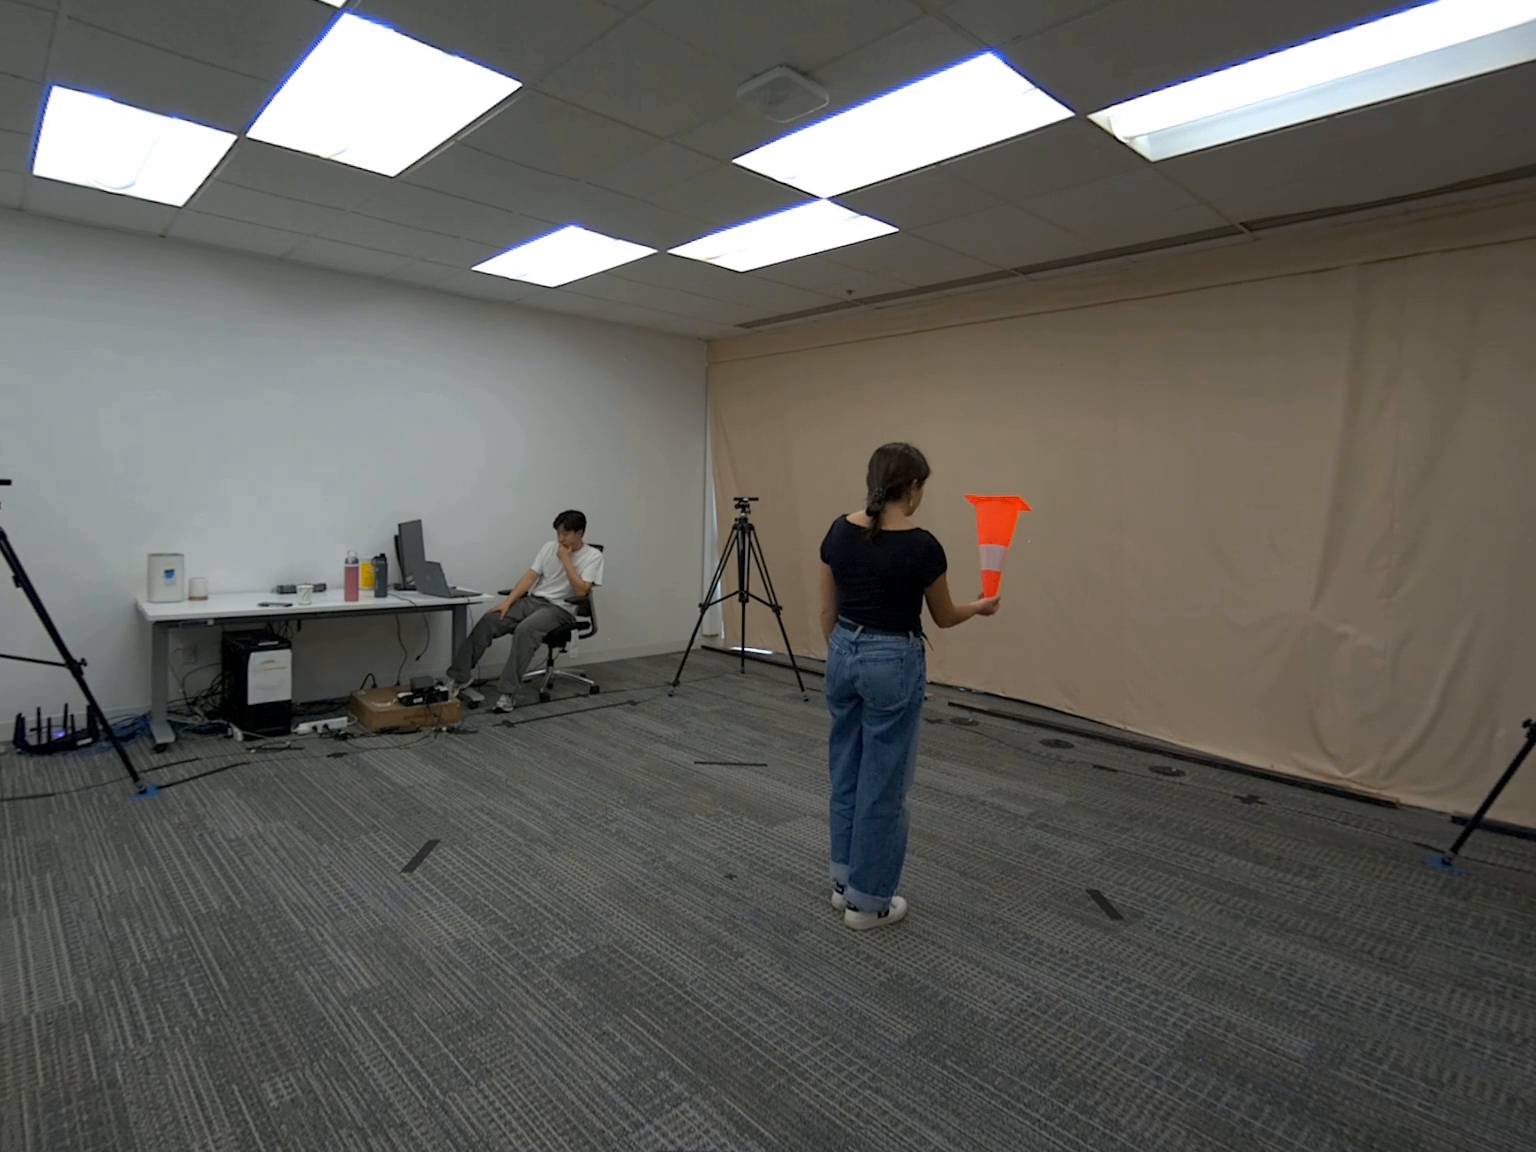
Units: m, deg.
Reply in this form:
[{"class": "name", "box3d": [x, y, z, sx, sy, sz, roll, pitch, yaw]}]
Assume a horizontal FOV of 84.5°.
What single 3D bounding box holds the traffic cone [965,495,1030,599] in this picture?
[{"class": "traffic cone", "box3d": [0.812, -0.072, 3.010, 0.209, 0.386, 0.198, 3, -12, 28]}]
